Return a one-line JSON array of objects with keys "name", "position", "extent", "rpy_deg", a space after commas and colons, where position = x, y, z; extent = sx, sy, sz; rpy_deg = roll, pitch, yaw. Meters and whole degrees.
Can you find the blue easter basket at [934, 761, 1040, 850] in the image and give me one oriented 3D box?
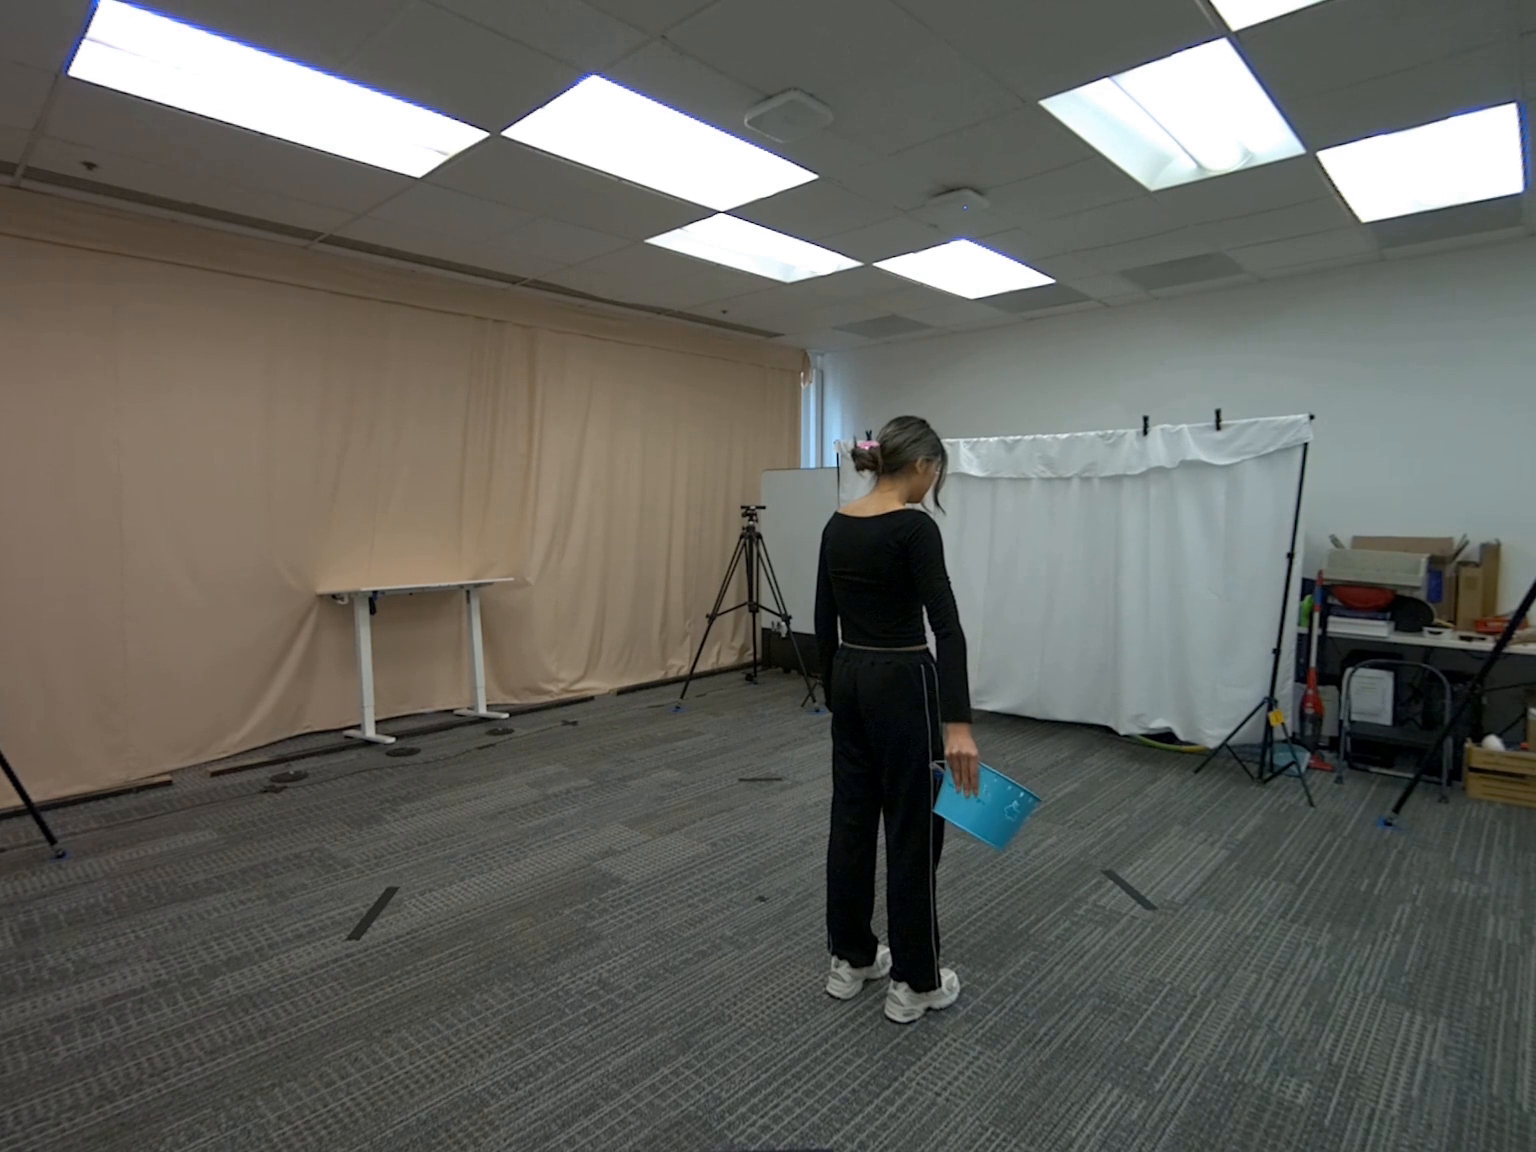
[{"name": "blue easter basket", "position": [0.532, 0.549, 2.043], "extent": [0.245, 0.156, 0.242], "rpy_deg": [29, -9, 3]}]
